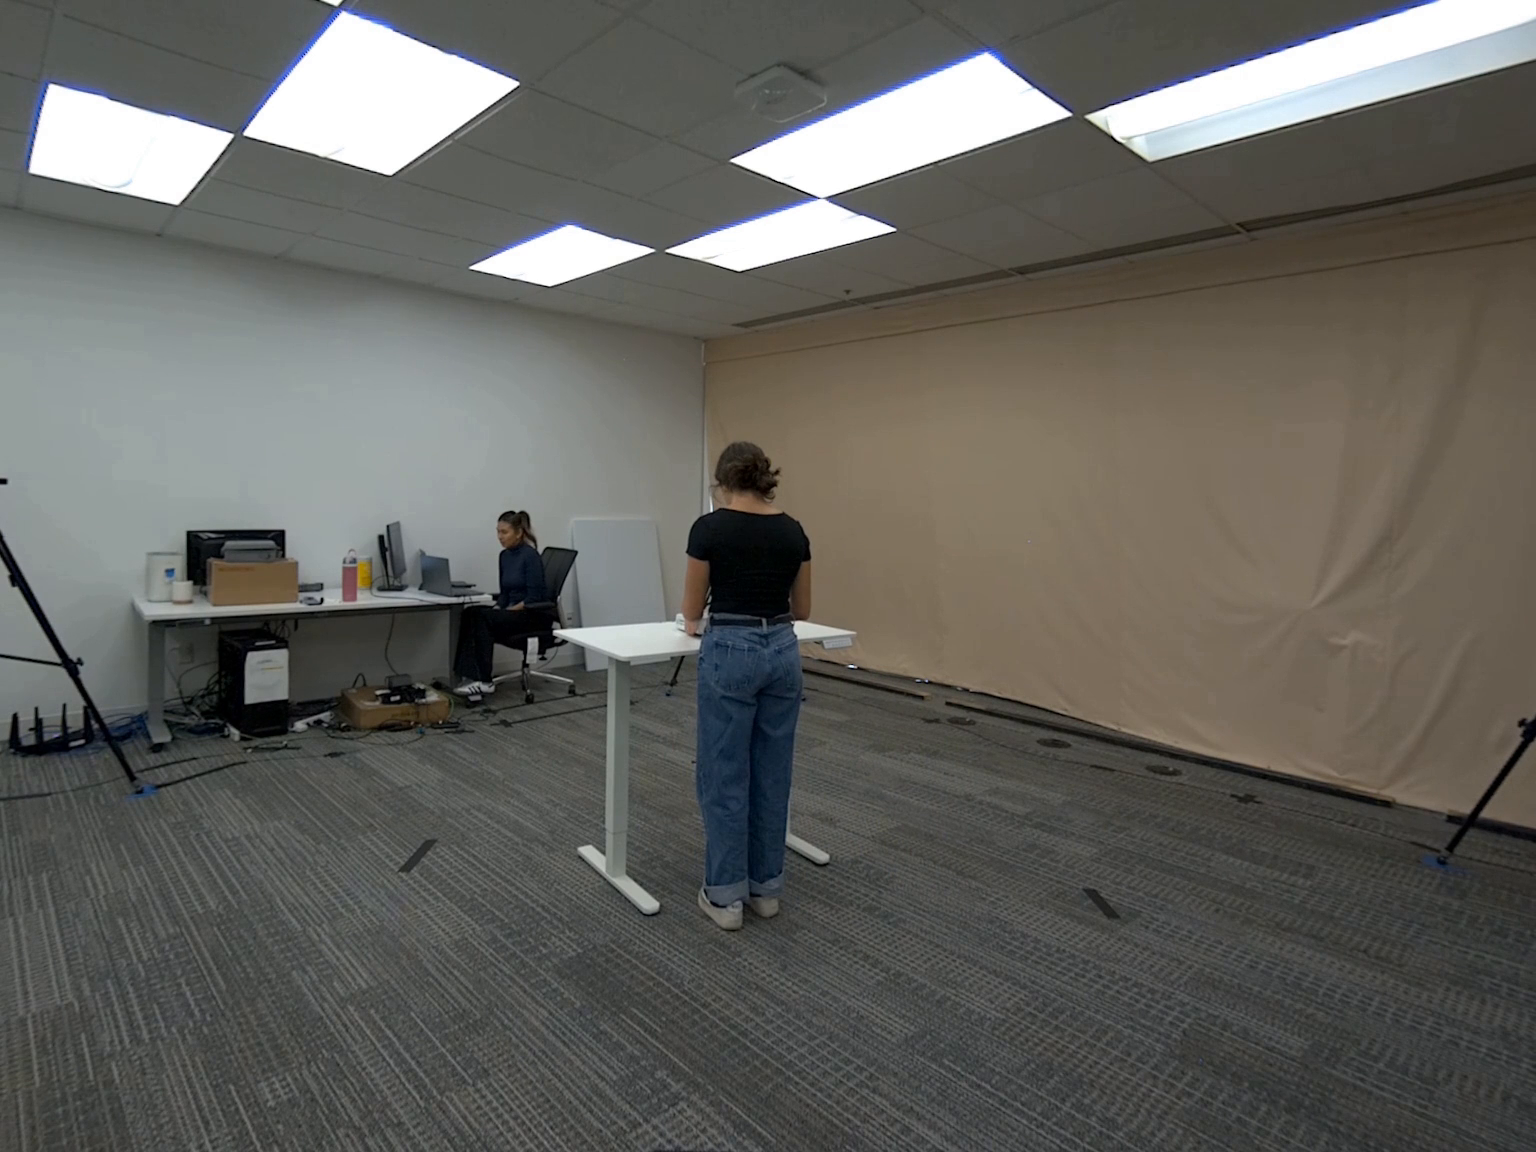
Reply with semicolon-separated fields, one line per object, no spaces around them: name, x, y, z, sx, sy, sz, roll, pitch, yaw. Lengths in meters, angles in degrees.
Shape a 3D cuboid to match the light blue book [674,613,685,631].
light blue book;-0.212;0.179;3.185;0.188;0.059;0.266;-3;2;-25
